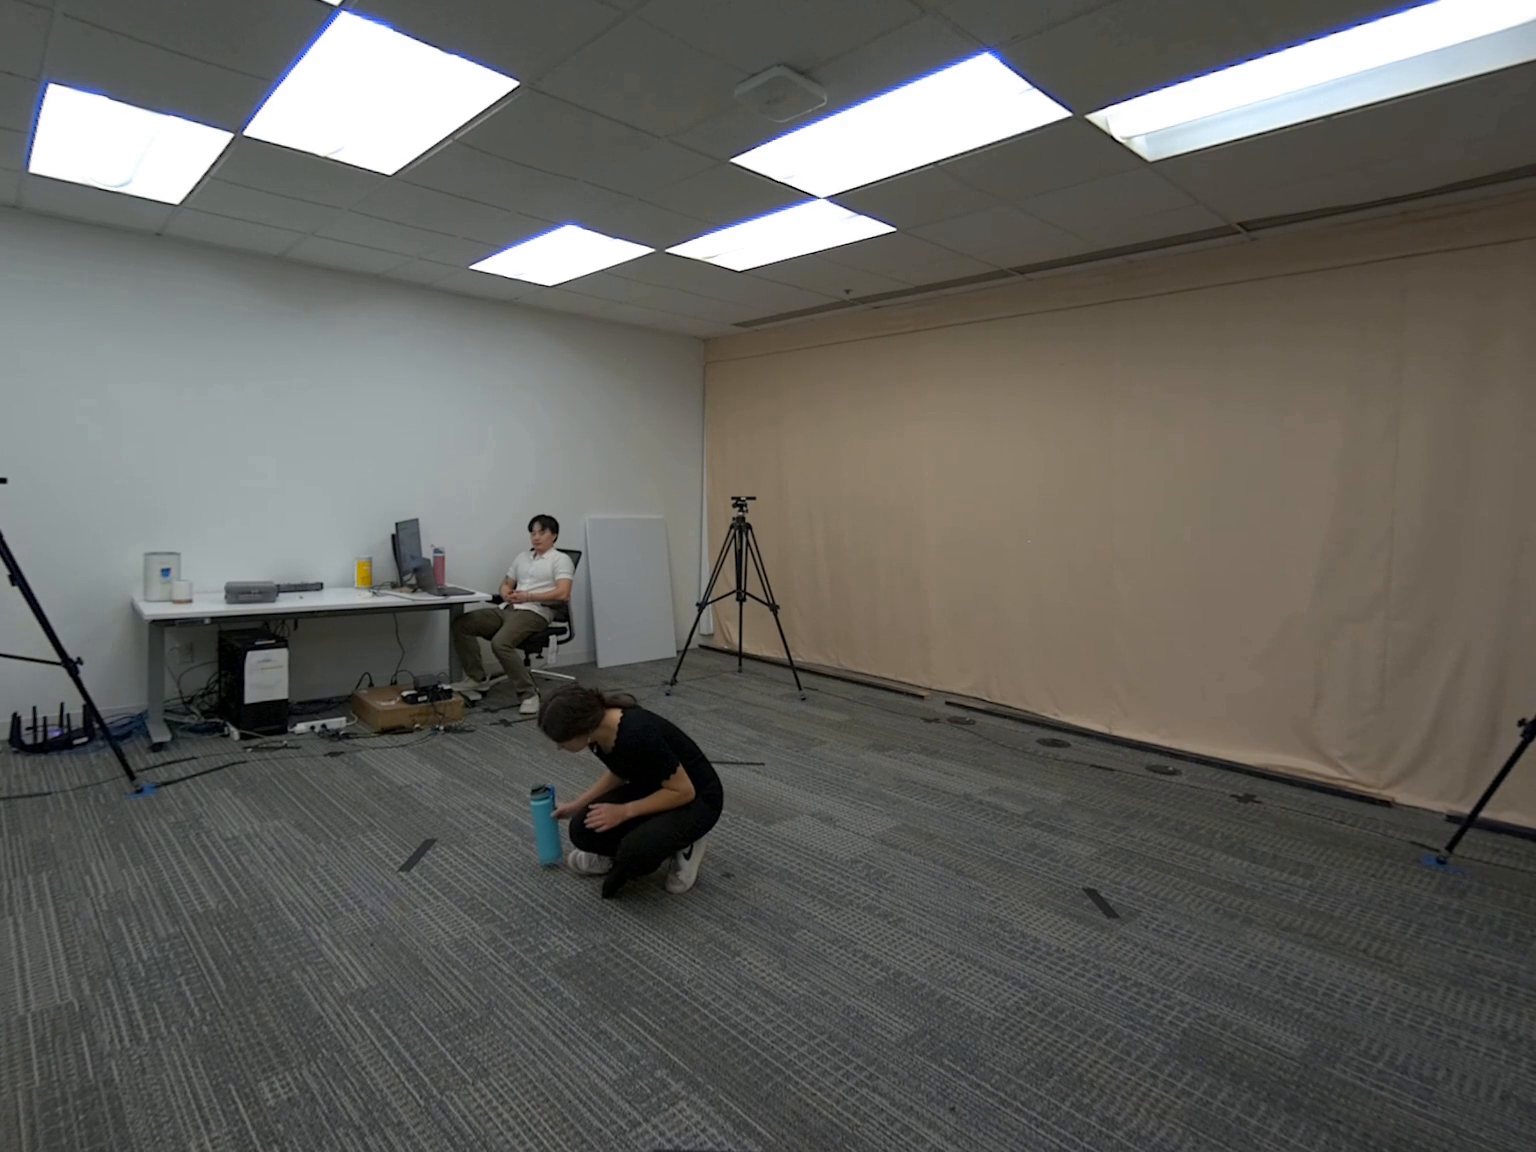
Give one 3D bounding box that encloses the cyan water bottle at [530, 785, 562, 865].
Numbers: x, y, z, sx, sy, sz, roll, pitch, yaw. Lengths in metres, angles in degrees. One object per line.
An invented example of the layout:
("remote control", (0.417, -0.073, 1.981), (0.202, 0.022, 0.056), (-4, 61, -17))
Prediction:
("cyan water bottle", (-0.833, 0.913, 3.140), (0.092, 0.283, 0.092), (-7, 3, -1))
